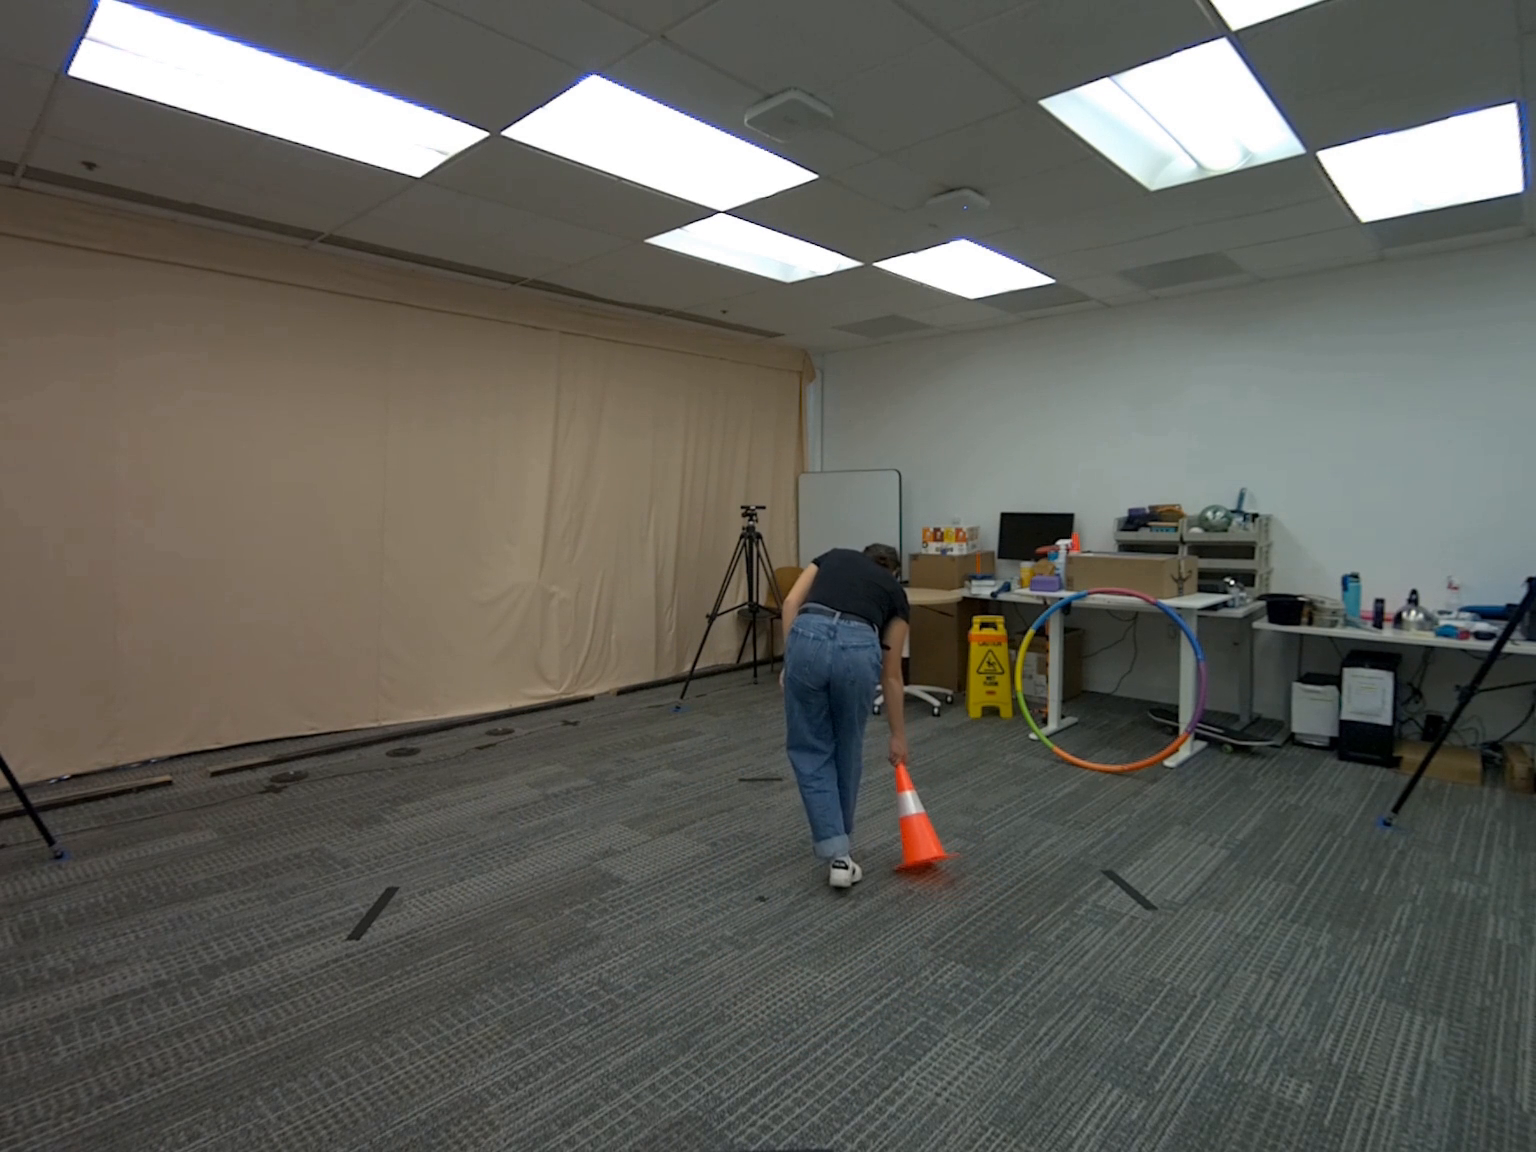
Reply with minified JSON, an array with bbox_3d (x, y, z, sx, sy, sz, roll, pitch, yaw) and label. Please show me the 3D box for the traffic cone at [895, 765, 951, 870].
[{"bbox_3d":[0.564,0.910,3.253,0.199,0.391,0.205,-2,-26,-22],"label":"traffic cone"}]
